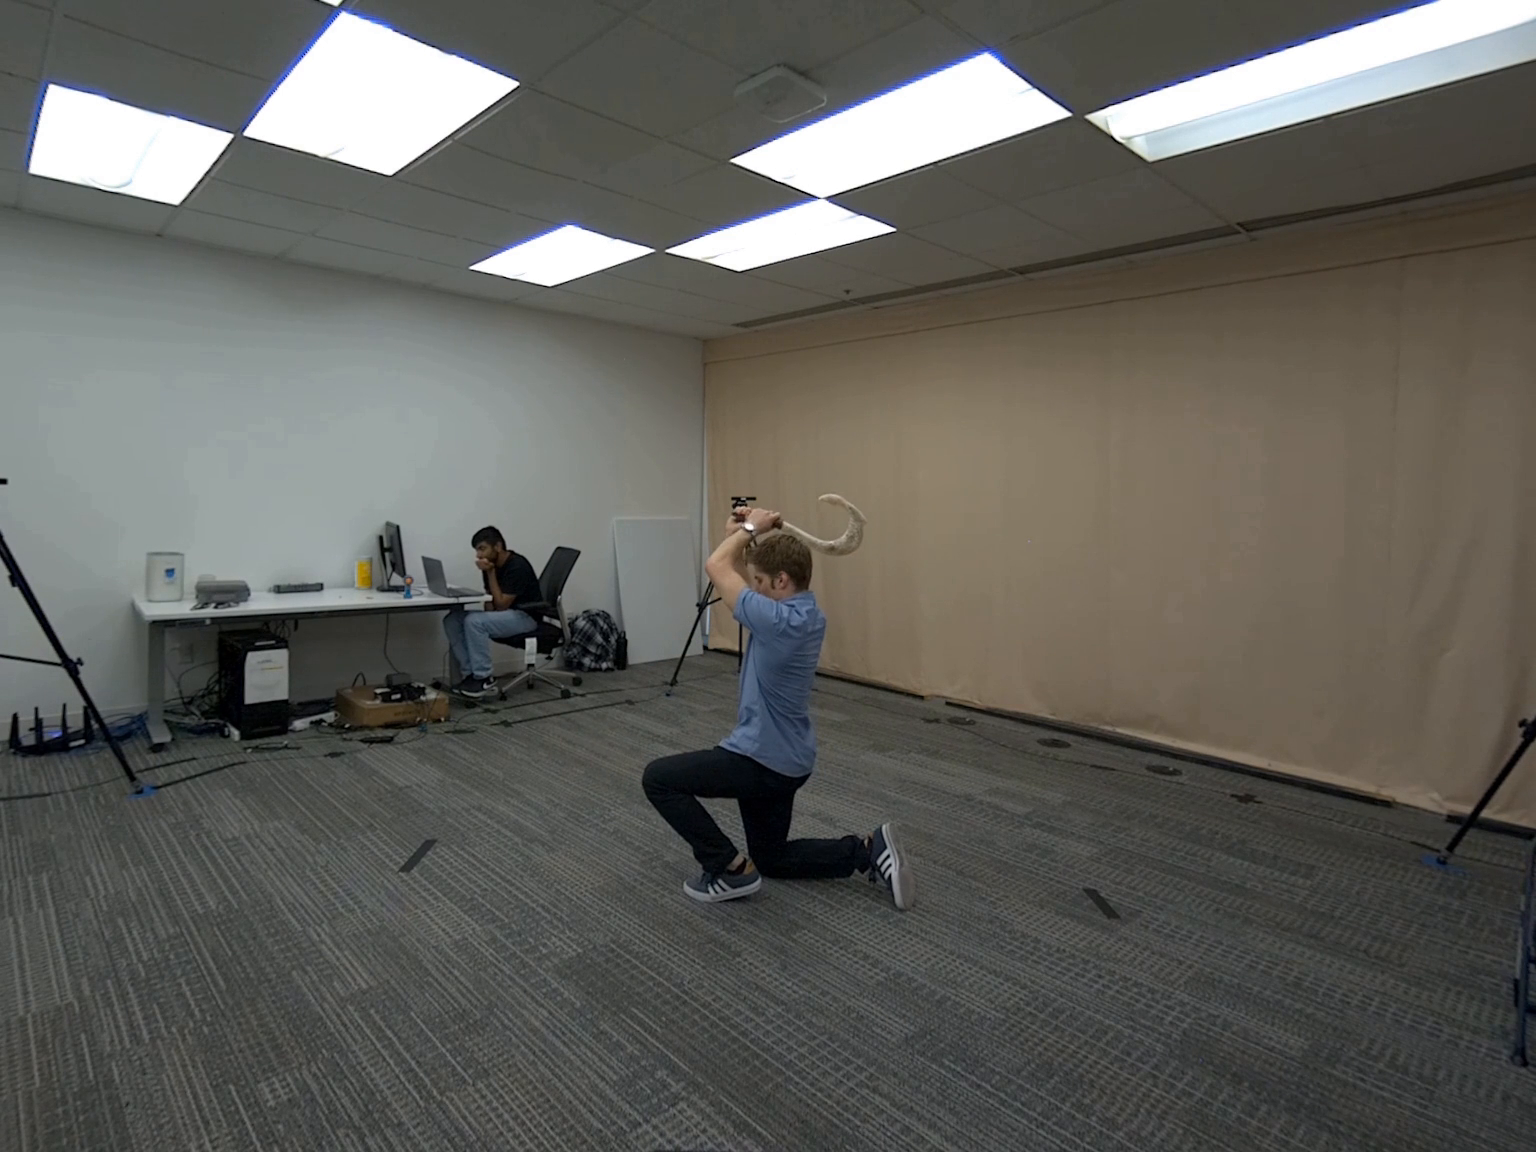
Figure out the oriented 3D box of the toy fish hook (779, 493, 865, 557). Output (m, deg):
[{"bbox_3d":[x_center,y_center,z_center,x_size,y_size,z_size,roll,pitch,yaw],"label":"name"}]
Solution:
[{"bbox_3d":[0.091,-0.229,3.212,0.511,0.225,0.048,15,-4,9],"label":"toy fish hook"}]
